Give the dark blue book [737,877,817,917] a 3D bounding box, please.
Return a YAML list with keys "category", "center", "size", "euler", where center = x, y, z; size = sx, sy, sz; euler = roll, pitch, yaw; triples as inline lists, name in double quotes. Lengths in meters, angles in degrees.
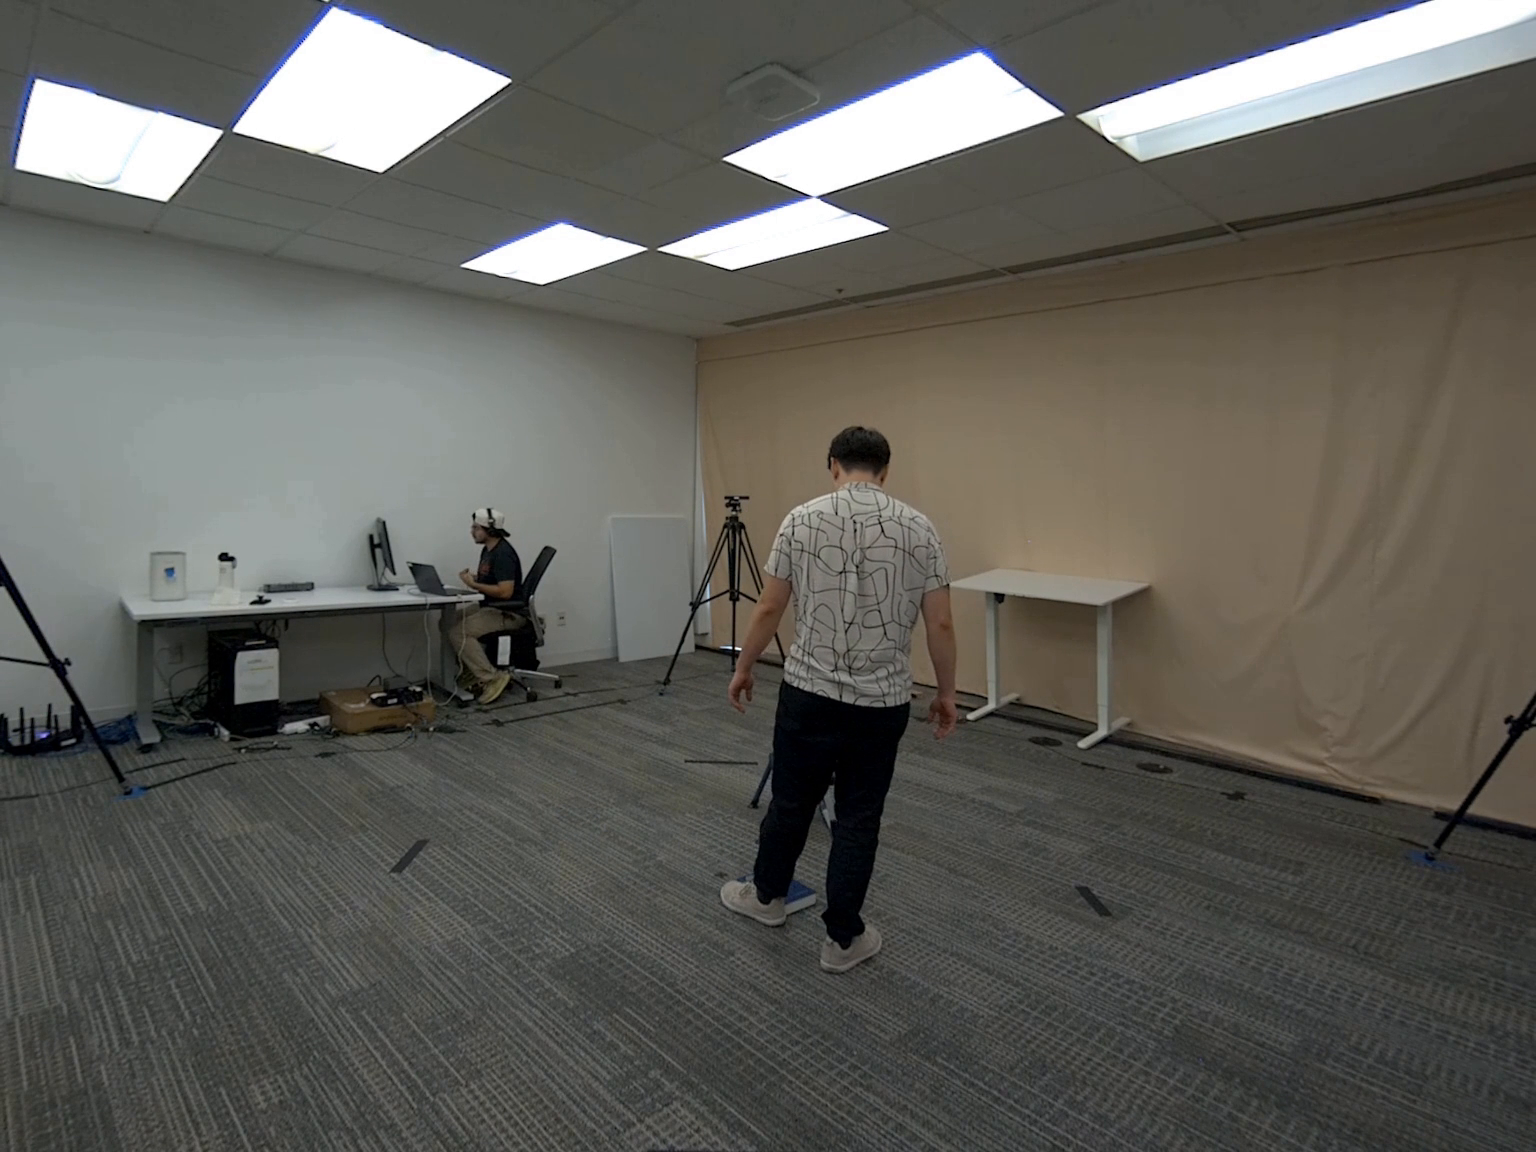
- category: "dark blue book"
  center: [0.024, 1.101, 2.927]
  size: [0.160, 0.045, 0.251]
  euler: [-3, 6, -40]
